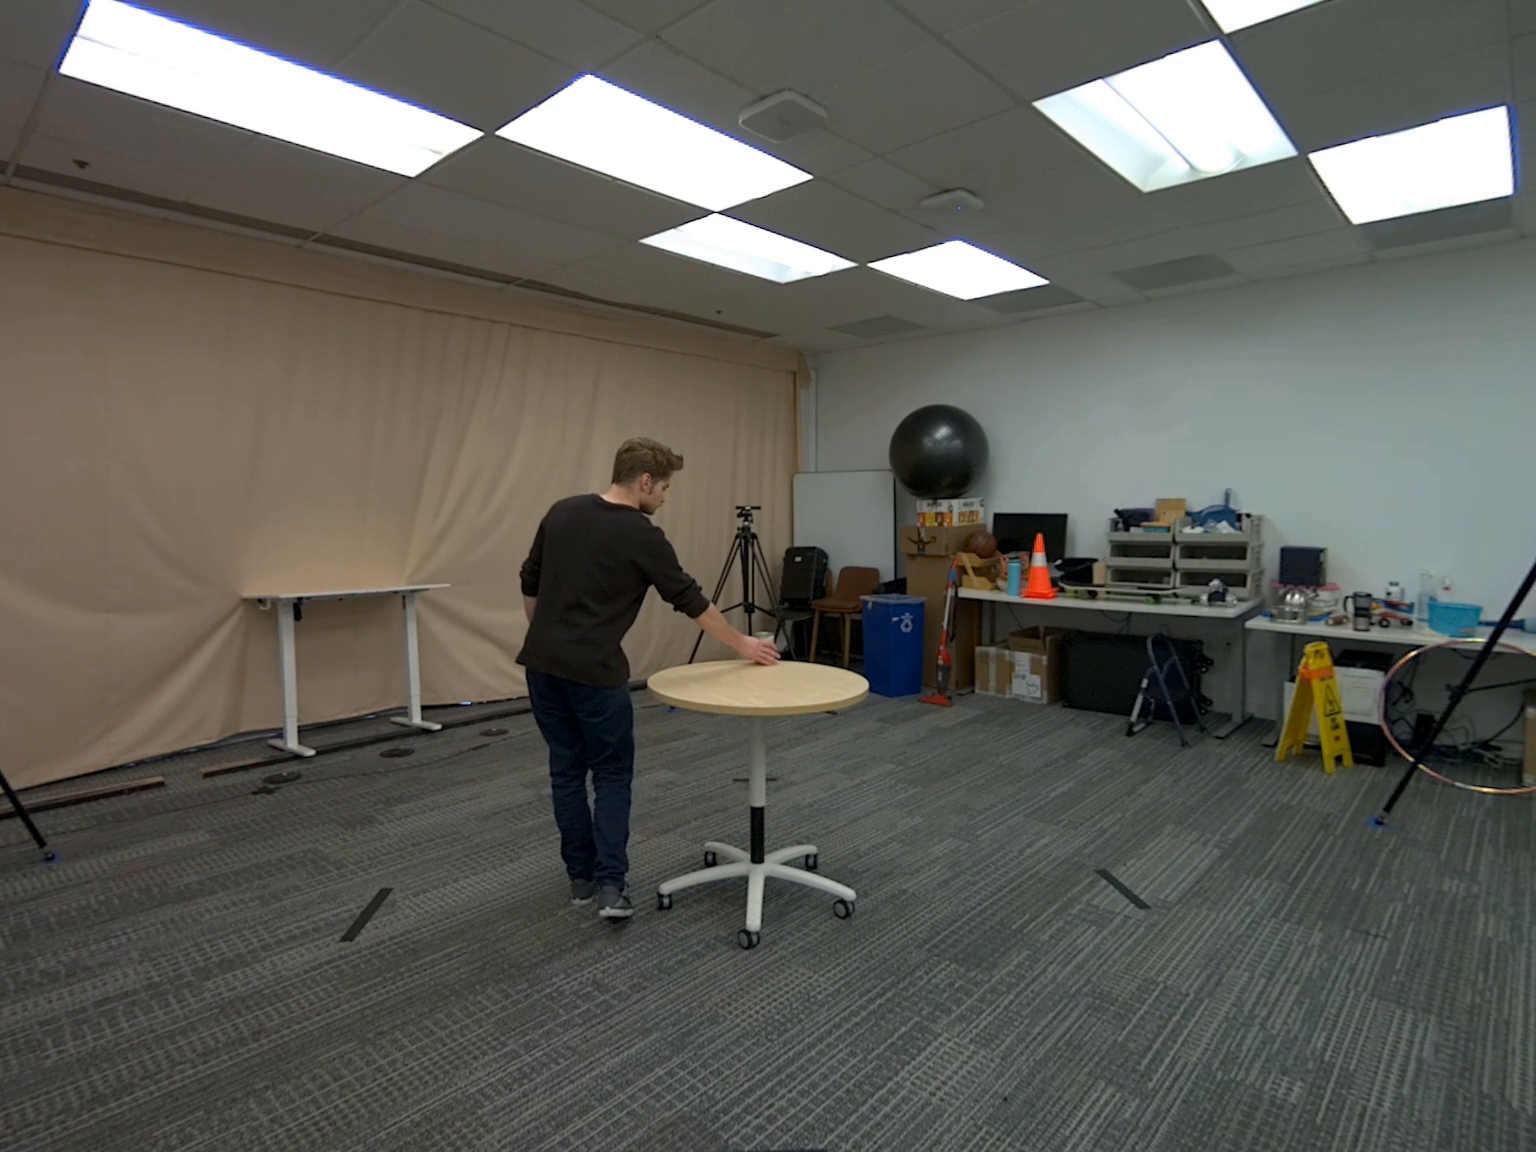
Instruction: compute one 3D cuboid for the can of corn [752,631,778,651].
[{"bbox_3d":[-0.033,0.283,3.256,0.074,0.111,0.074,-4,4,-2],"label":"can of corn"}]
